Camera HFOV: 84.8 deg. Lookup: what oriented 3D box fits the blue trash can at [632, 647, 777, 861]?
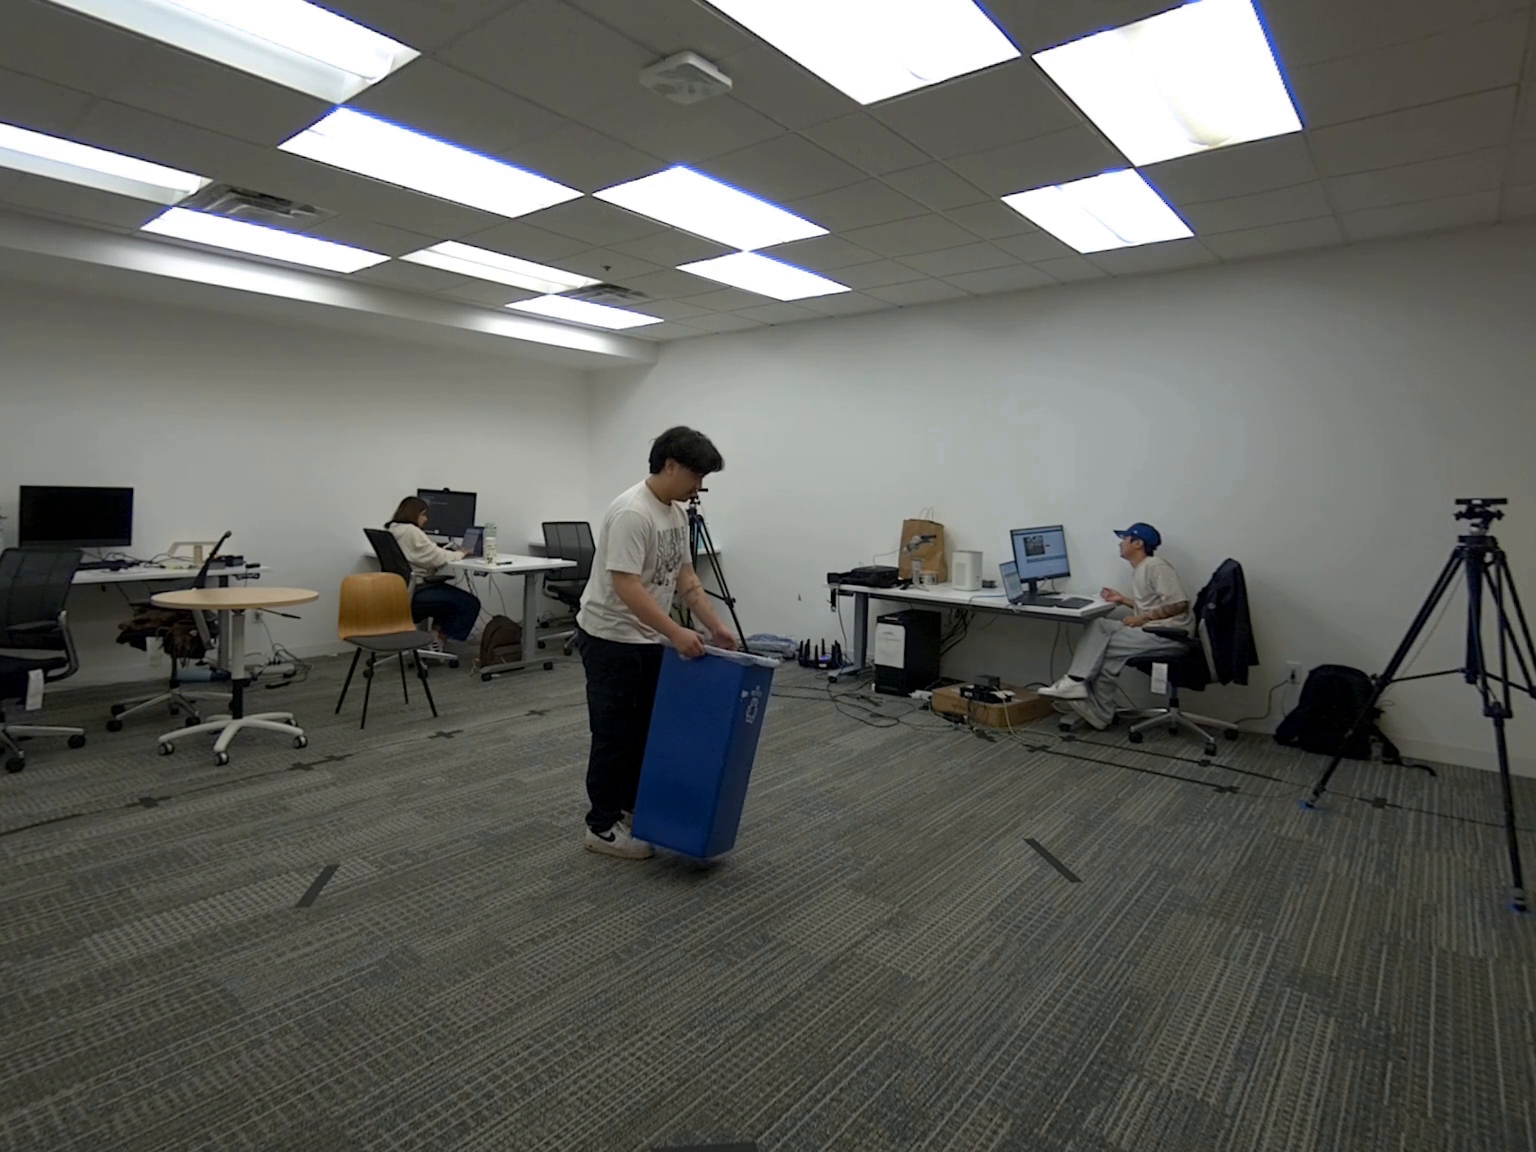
[{"bbox_3d":[-0.249,0.630,3.173,0.388,0.717,0.363,9,-7,22],"label":"blue trash can"}]
